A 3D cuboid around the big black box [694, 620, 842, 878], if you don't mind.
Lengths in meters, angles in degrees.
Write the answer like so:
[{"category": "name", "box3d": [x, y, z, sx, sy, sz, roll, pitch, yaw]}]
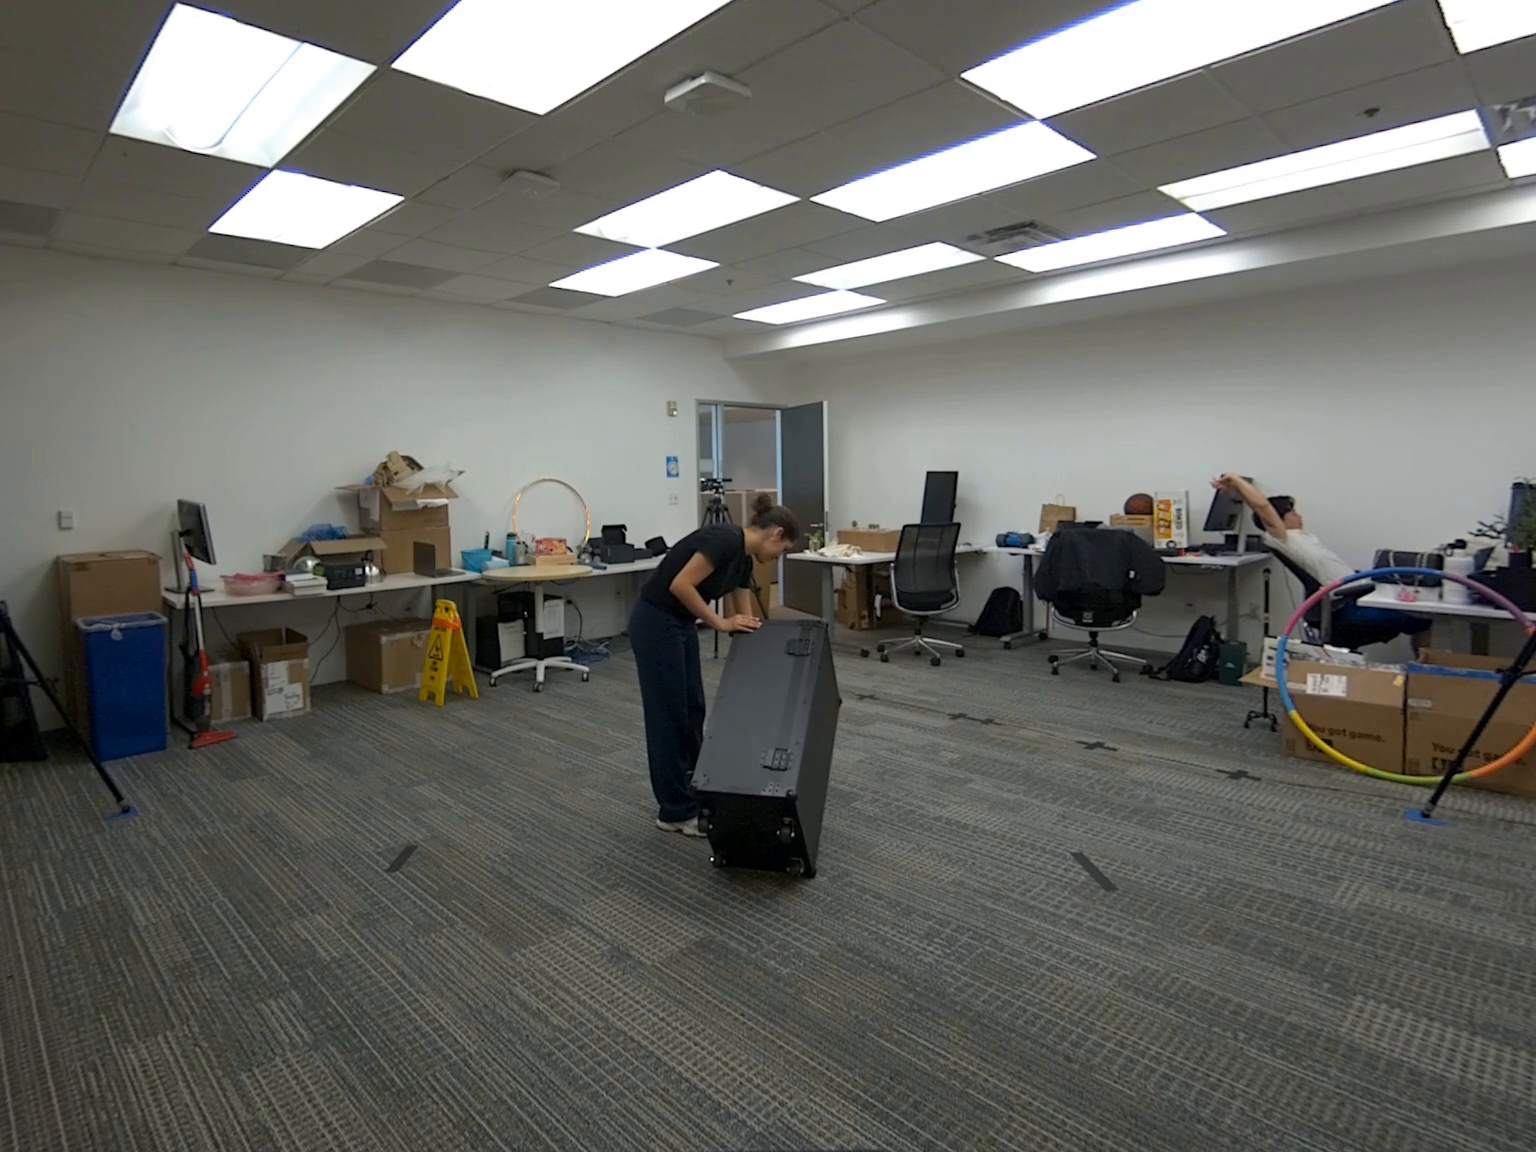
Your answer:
[{"category": "big black box", "box3d": [0.004, 0.628, 3.161, 0.402, 0.504, 0.877, -2, 41, 15]}]
